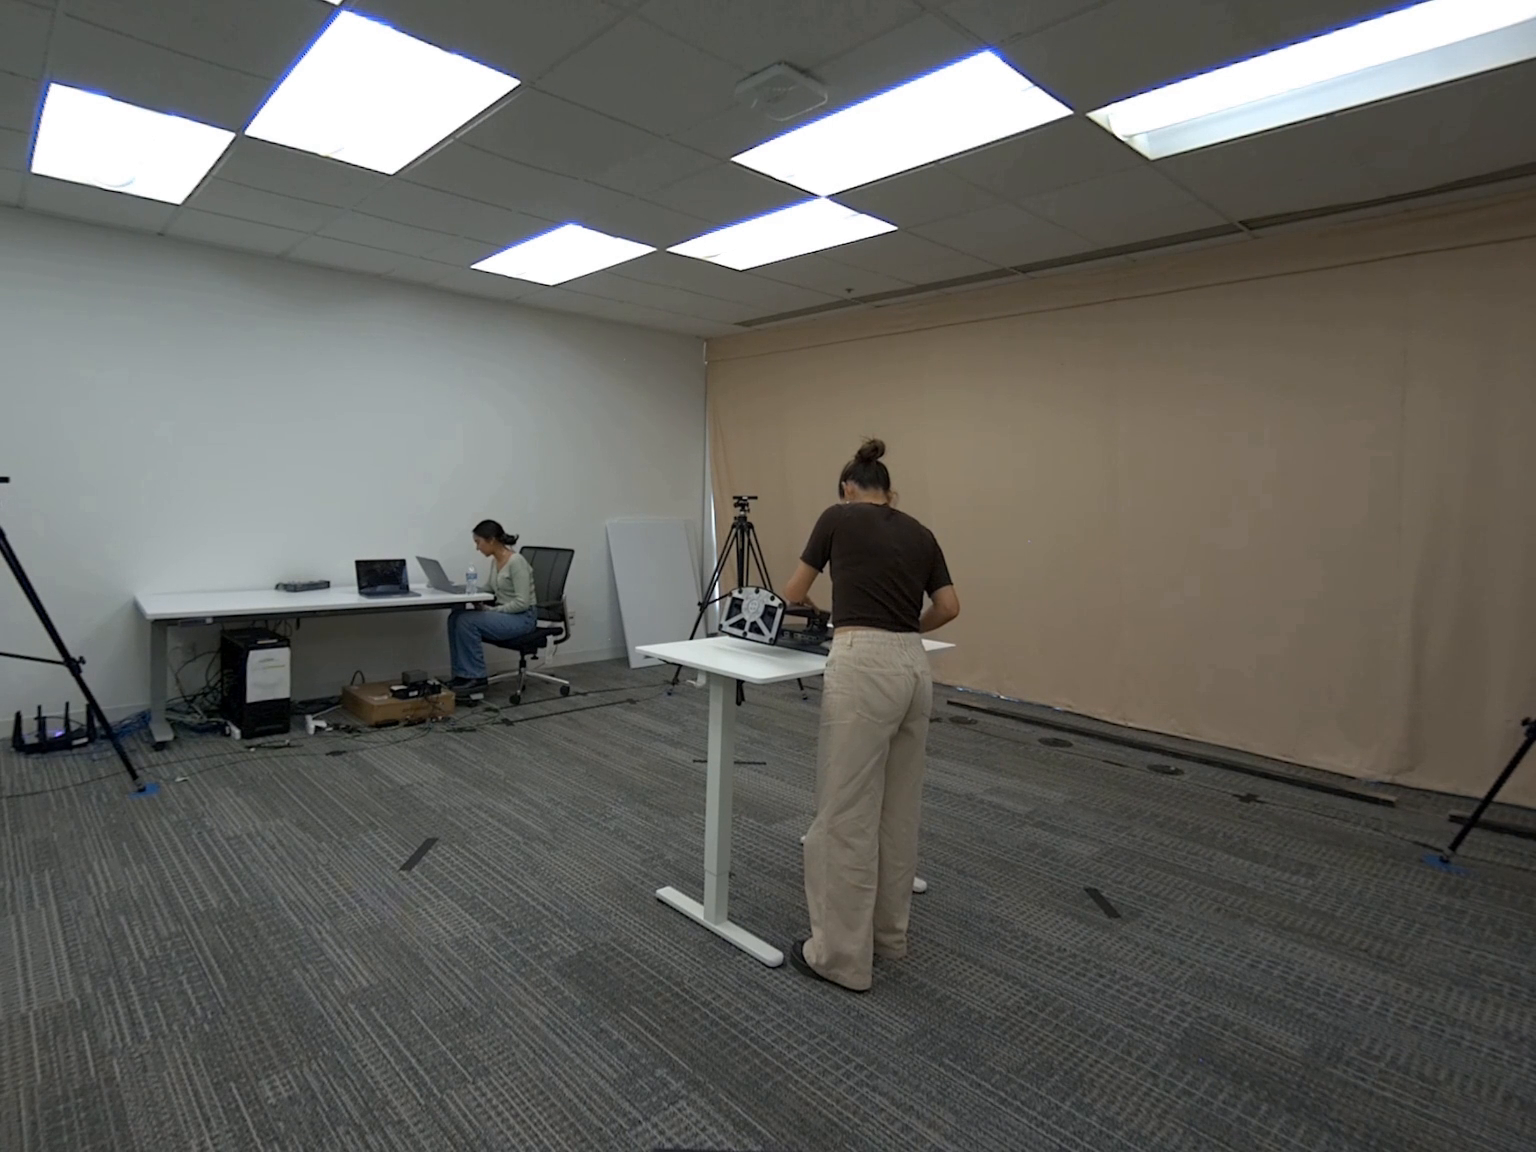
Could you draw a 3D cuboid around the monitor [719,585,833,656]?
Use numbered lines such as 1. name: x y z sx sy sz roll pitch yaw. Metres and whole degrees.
1. monitor: 0.105 0.183 2.944 0.507 0.187 0.553 18 -6 -43
